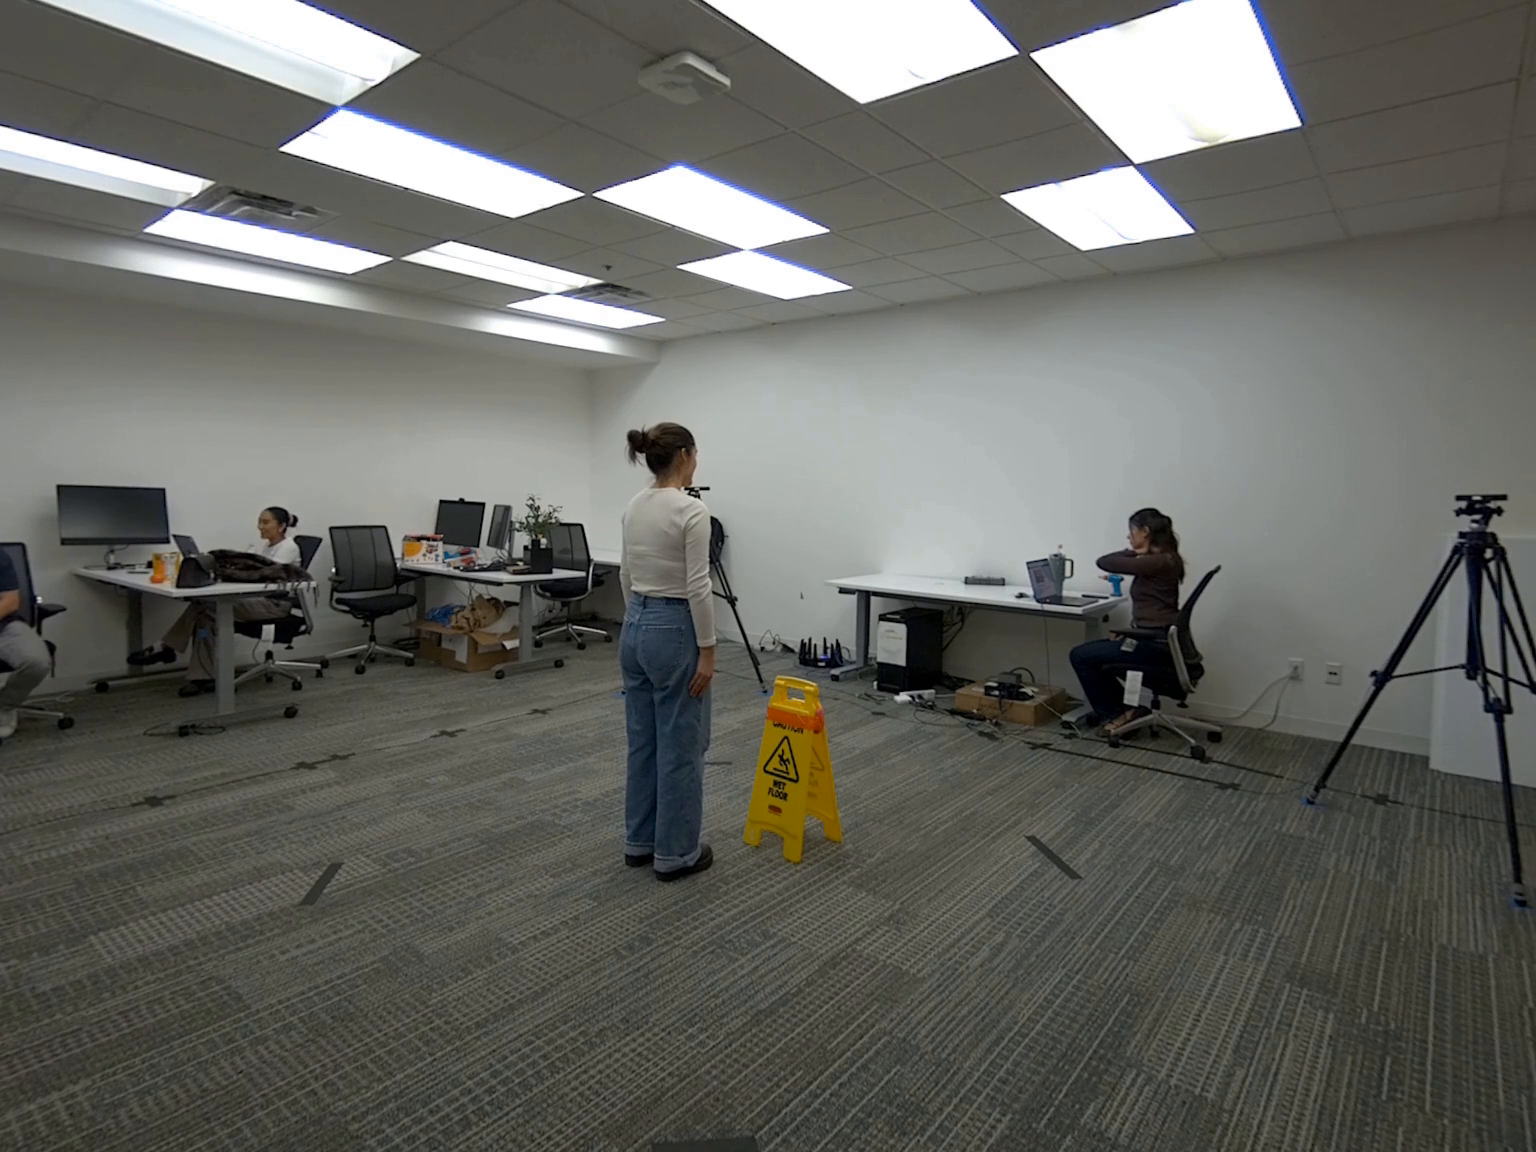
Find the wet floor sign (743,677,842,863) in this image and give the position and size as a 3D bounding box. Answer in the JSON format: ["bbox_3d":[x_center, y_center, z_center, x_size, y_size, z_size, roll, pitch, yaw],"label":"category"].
[{"bbox_3d":[0.094,0.725,3.334,0.292,0.644,0.281,4,5,41],"label":"wet floor sign"}]
